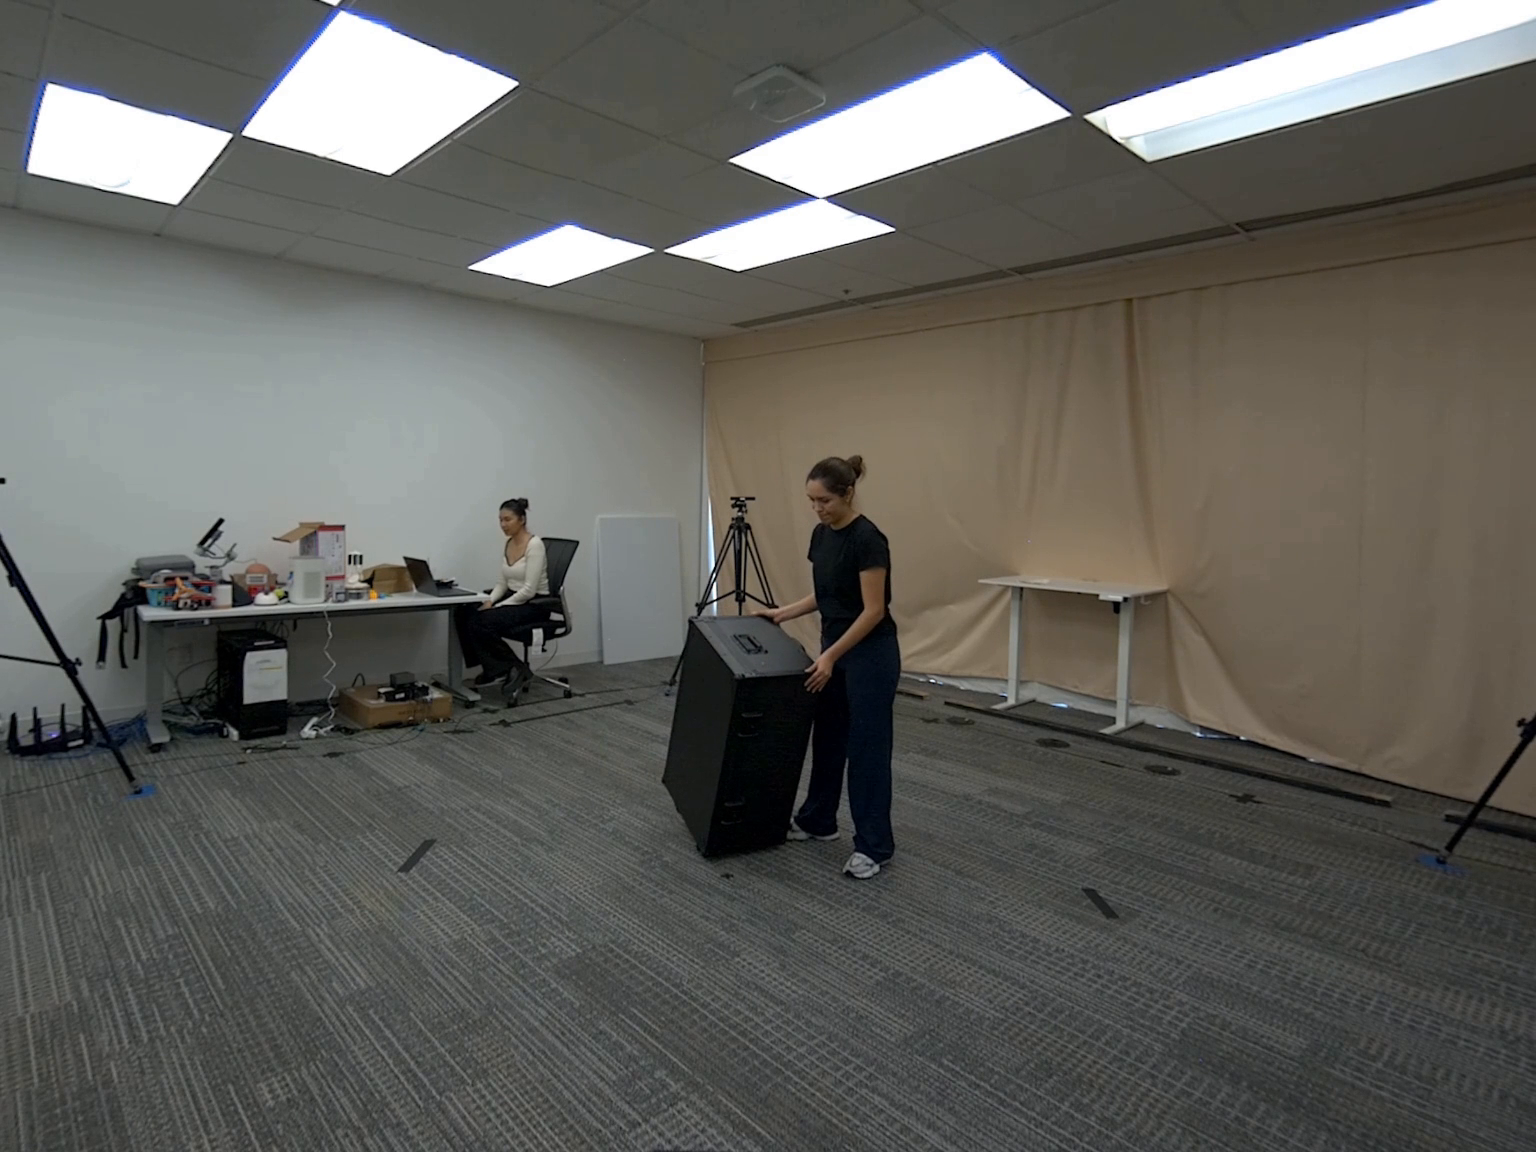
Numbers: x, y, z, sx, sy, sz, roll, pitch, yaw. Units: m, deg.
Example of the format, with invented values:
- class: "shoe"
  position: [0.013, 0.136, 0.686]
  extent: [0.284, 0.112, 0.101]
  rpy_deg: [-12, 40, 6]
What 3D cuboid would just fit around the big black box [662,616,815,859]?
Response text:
- class: "big black box"
  position: [-0.127, 0.639, 3.346]
  extent: [0.389, 0.852, 0.537]
  rpy_deg: [1, 22, -27]
